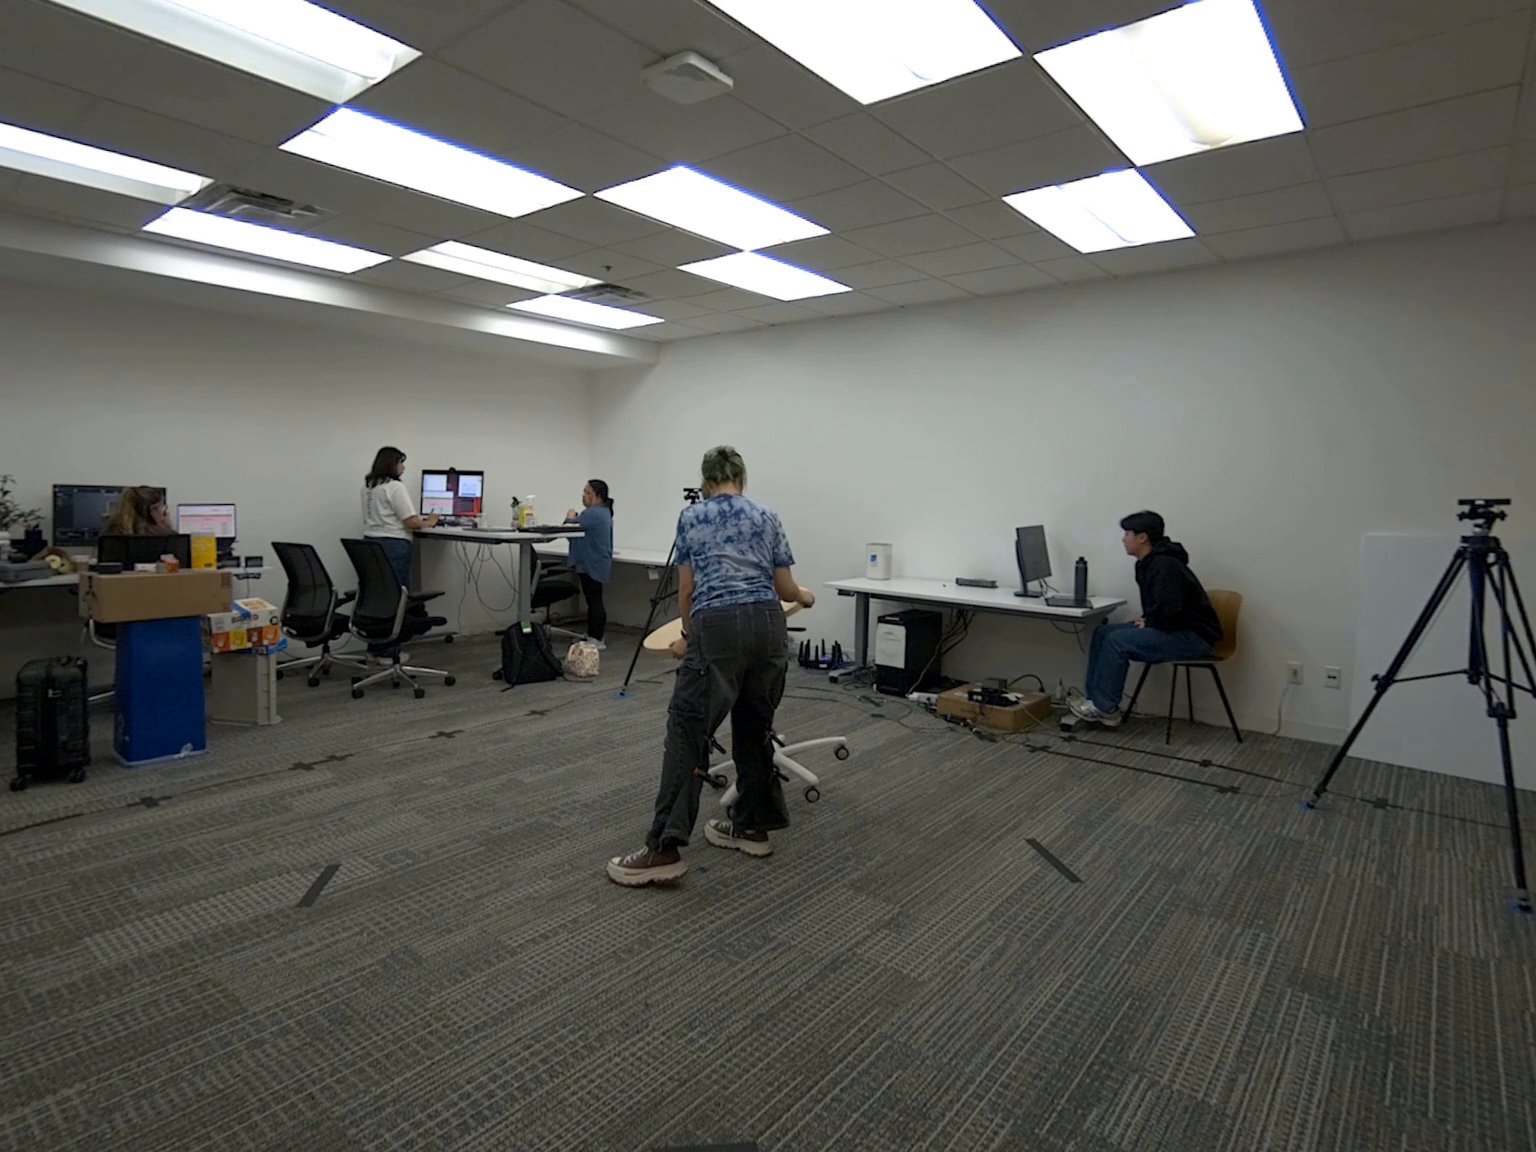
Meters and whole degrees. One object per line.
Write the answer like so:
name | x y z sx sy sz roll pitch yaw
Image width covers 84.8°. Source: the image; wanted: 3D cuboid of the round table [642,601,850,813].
round table | -0.074 0.549 3.803 0.764 0.788 0.770 -17 7 0
